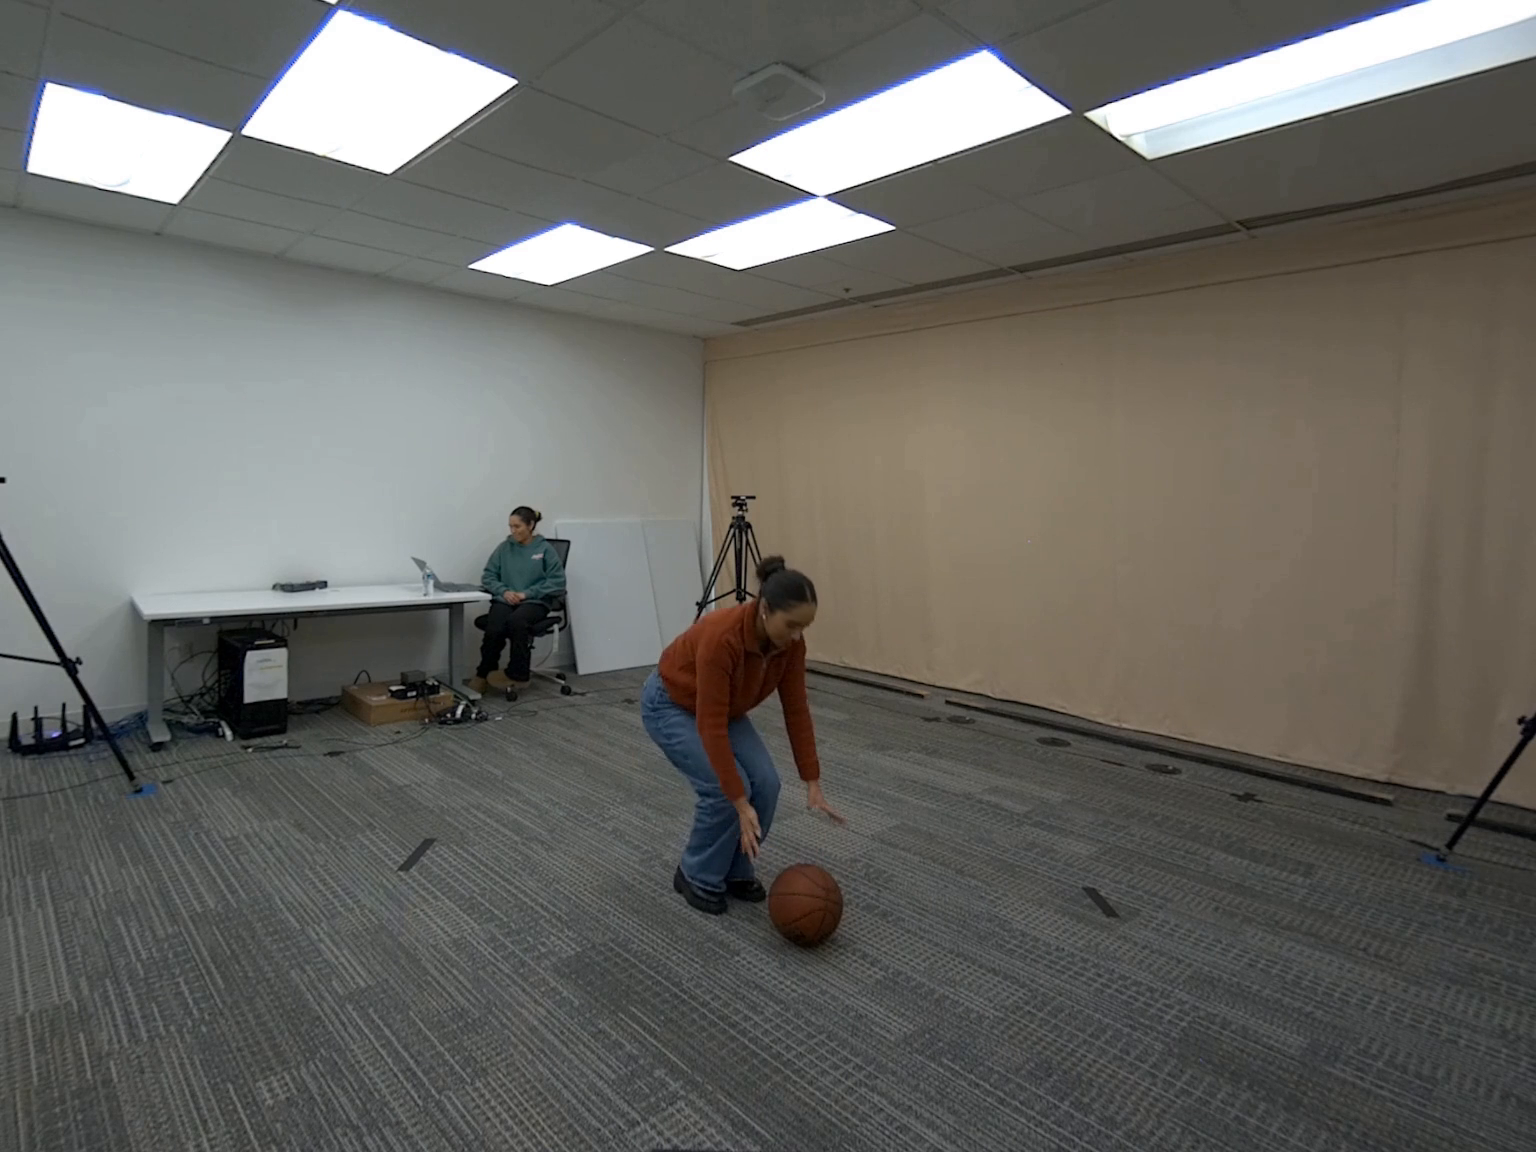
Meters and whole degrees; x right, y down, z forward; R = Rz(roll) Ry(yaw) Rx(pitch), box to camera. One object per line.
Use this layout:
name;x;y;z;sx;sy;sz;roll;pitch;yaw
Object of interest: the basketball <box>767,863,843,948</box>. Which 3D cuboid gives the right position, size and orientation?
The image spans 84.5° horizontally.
basketball;0.113;1.029;2.644;0.236;0.235;0.237;1;4;-1
